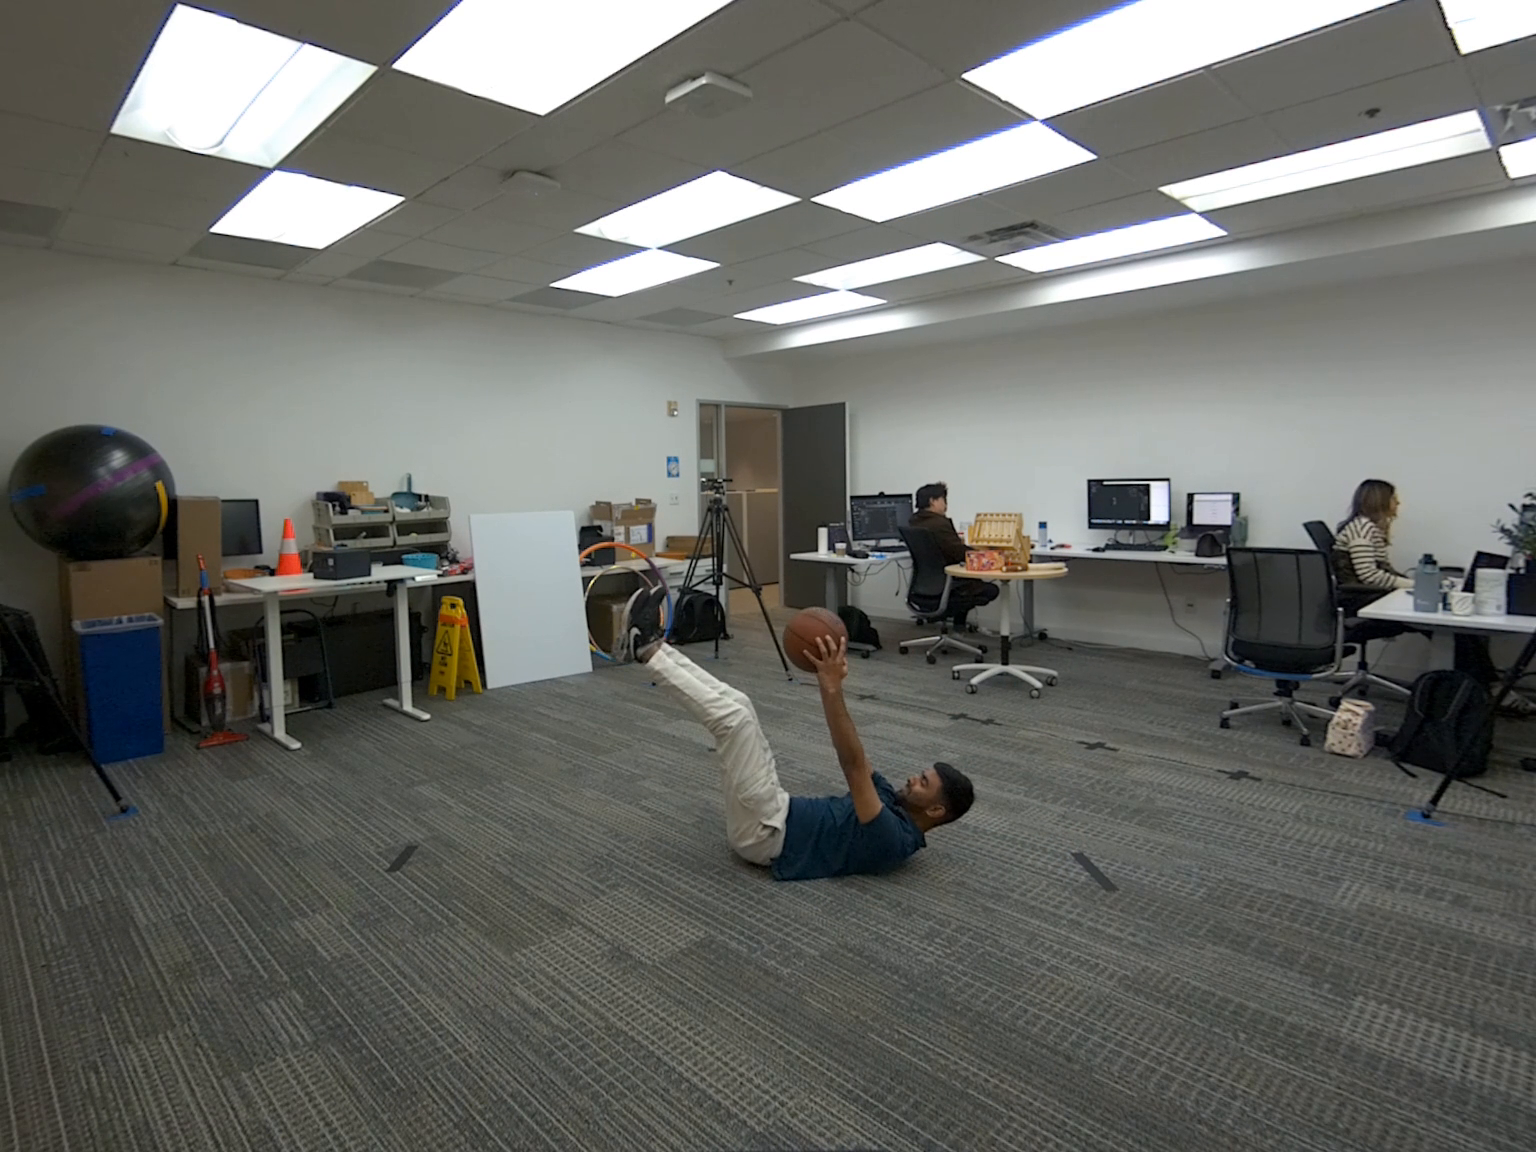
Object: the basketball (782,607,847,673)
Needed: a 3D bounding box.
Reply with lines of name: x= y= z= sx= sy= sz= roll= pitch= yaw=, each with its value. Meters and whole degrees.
basketball: x=0.181 y=0.237 z=3.122 sx=0.236 sy=0.235 sz=0.237 roll=-1 pitch=5 yaw=-2
